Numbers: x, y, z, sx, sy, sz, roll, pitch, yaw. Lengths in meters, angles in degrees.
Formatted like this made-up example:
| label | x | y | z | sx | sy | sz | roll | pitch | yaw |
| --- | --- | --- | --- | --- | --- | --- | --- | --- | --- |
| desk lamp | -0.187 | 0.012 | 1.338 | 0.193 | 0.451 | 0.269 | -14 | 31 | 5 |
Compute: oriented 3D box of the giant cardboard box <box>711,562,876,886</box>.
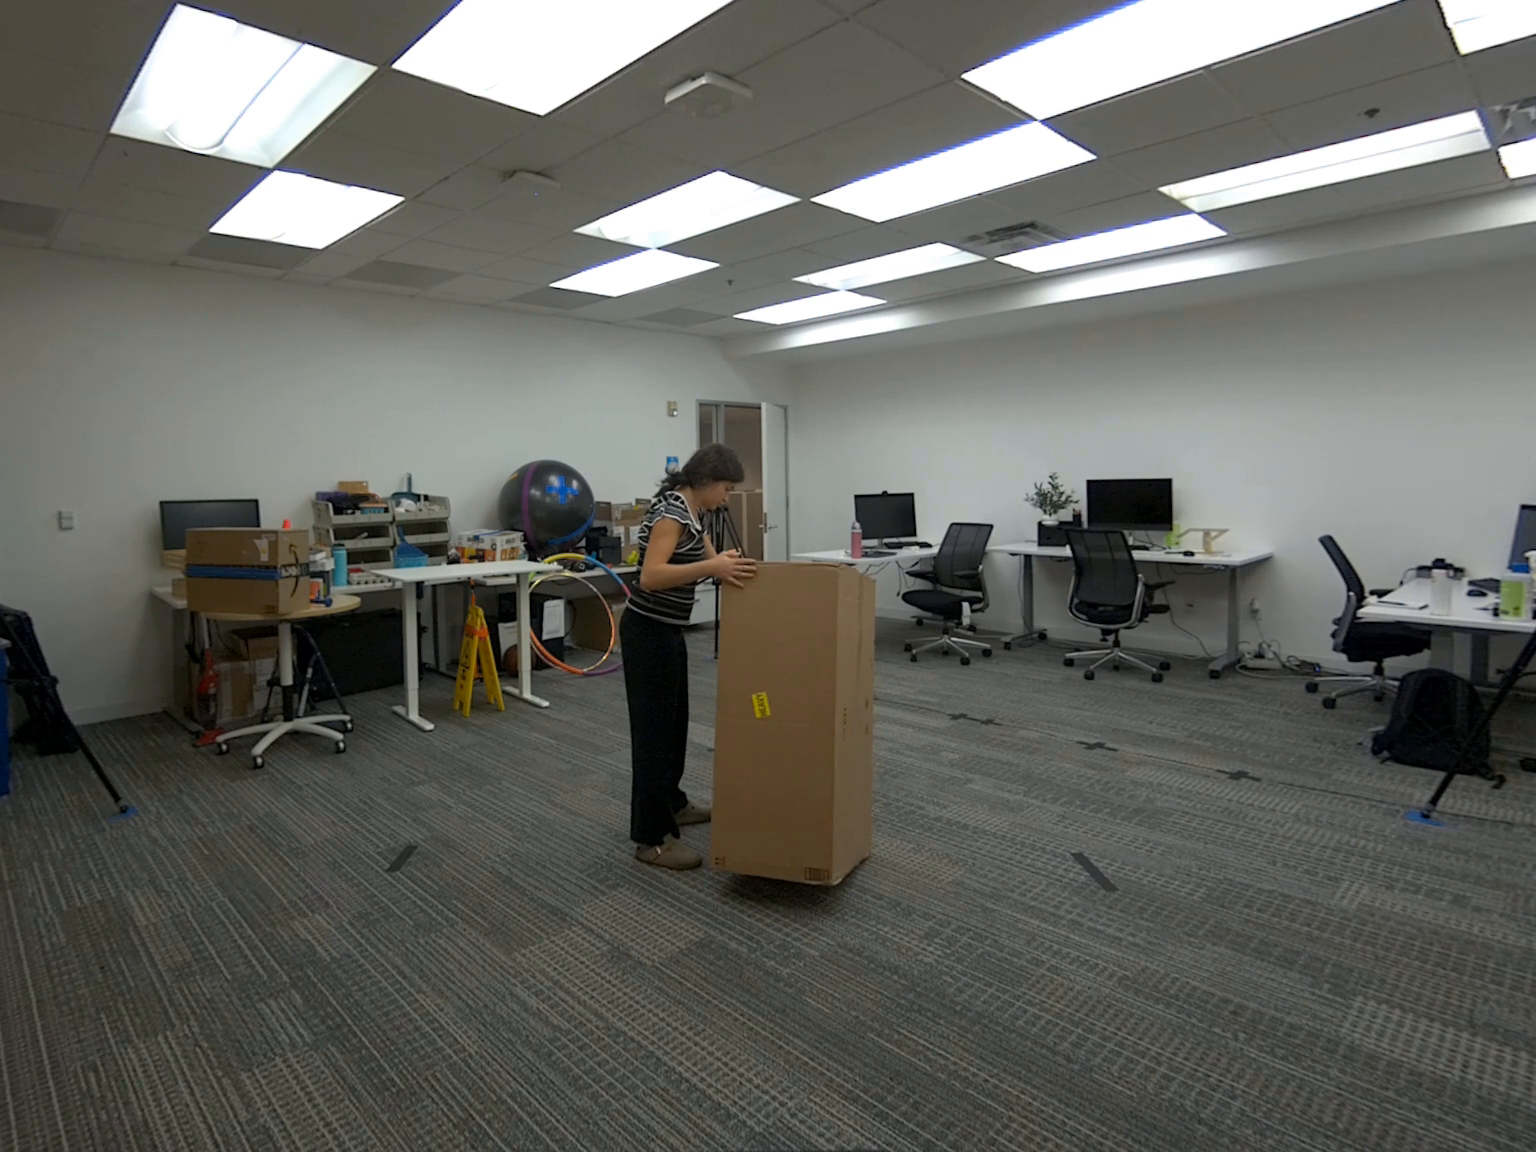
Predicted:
| label | x | y | z | sx | sy | sz | roll | pitch | yaw |
| --- | --- | --- | --- | --- | --- | --- | --- | --- | --- |
| giant cardboard box | 0.115 | 0.497 | 3.076 | 0.434 | 1.033 | 0.562 | -1 | -8 | 21 |
